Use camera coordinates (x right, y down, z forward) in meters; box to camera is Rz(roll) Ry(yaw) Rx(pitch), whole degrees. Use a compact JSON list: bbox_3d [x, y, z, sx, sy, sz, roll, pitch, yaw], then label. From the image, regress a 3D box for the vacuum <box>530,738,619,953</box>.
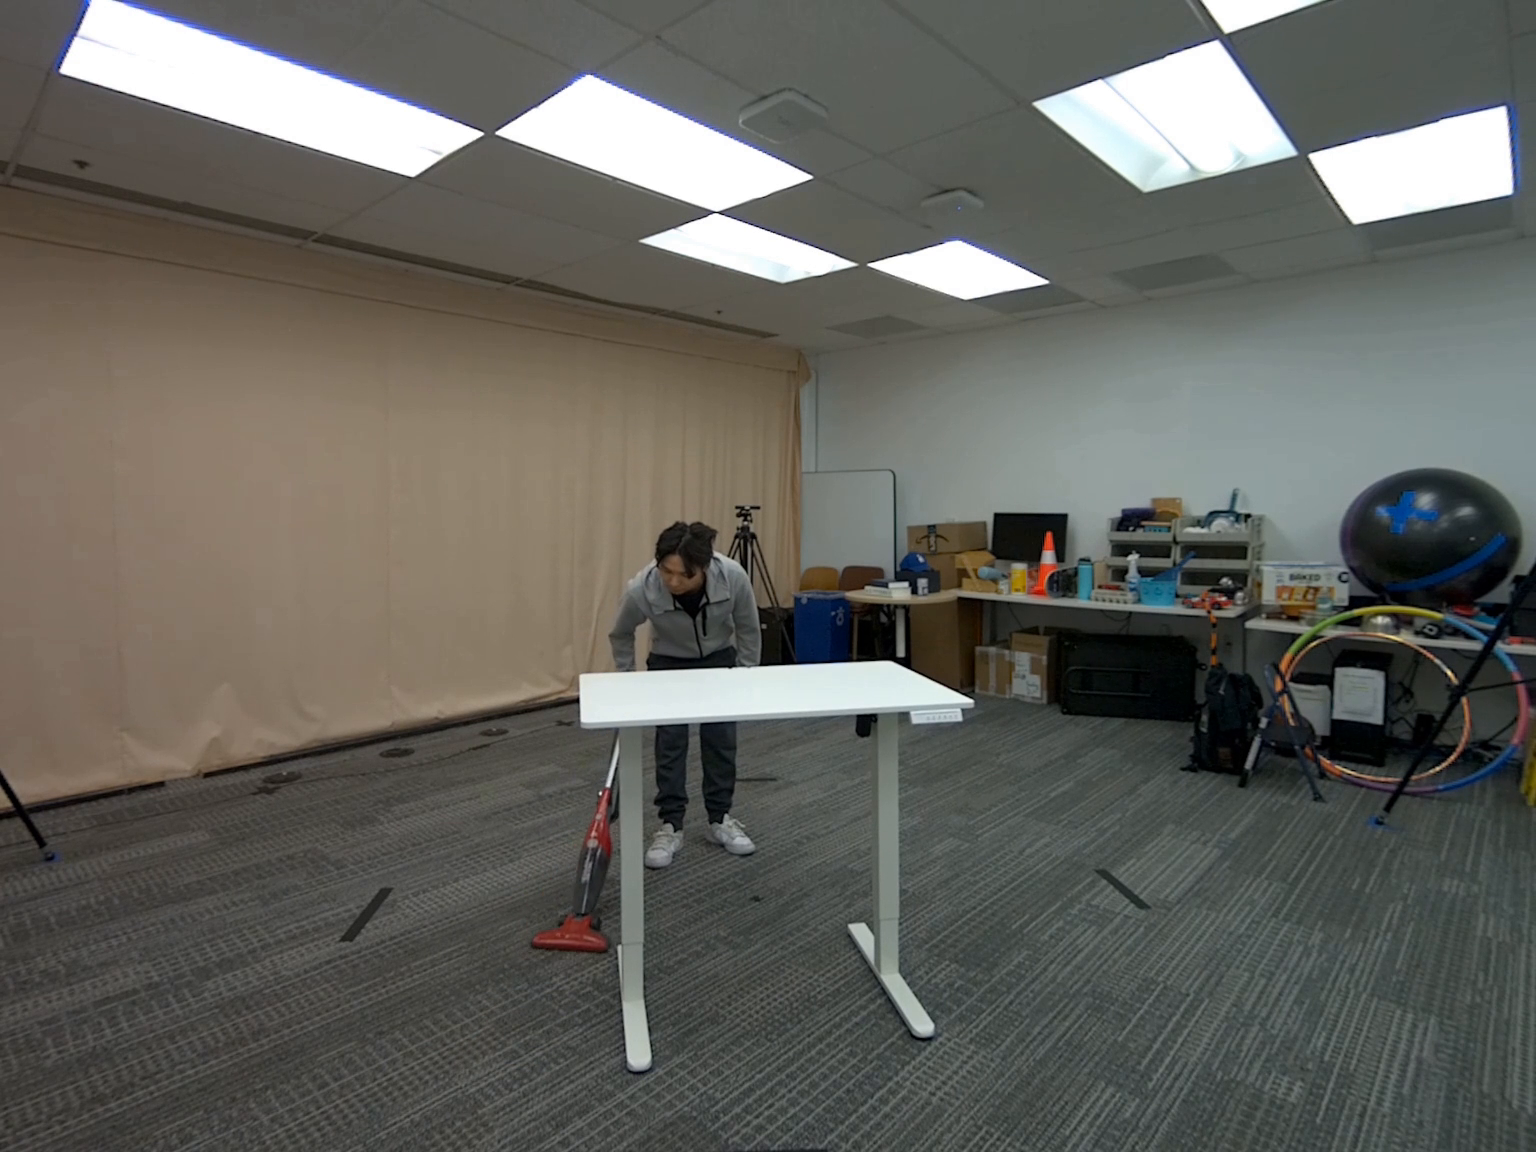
[{"bbox_3d":[-0.584,0.817,3.112,0.255,0.141,1.063,-3,38,8],"label":"vacuum"}]
